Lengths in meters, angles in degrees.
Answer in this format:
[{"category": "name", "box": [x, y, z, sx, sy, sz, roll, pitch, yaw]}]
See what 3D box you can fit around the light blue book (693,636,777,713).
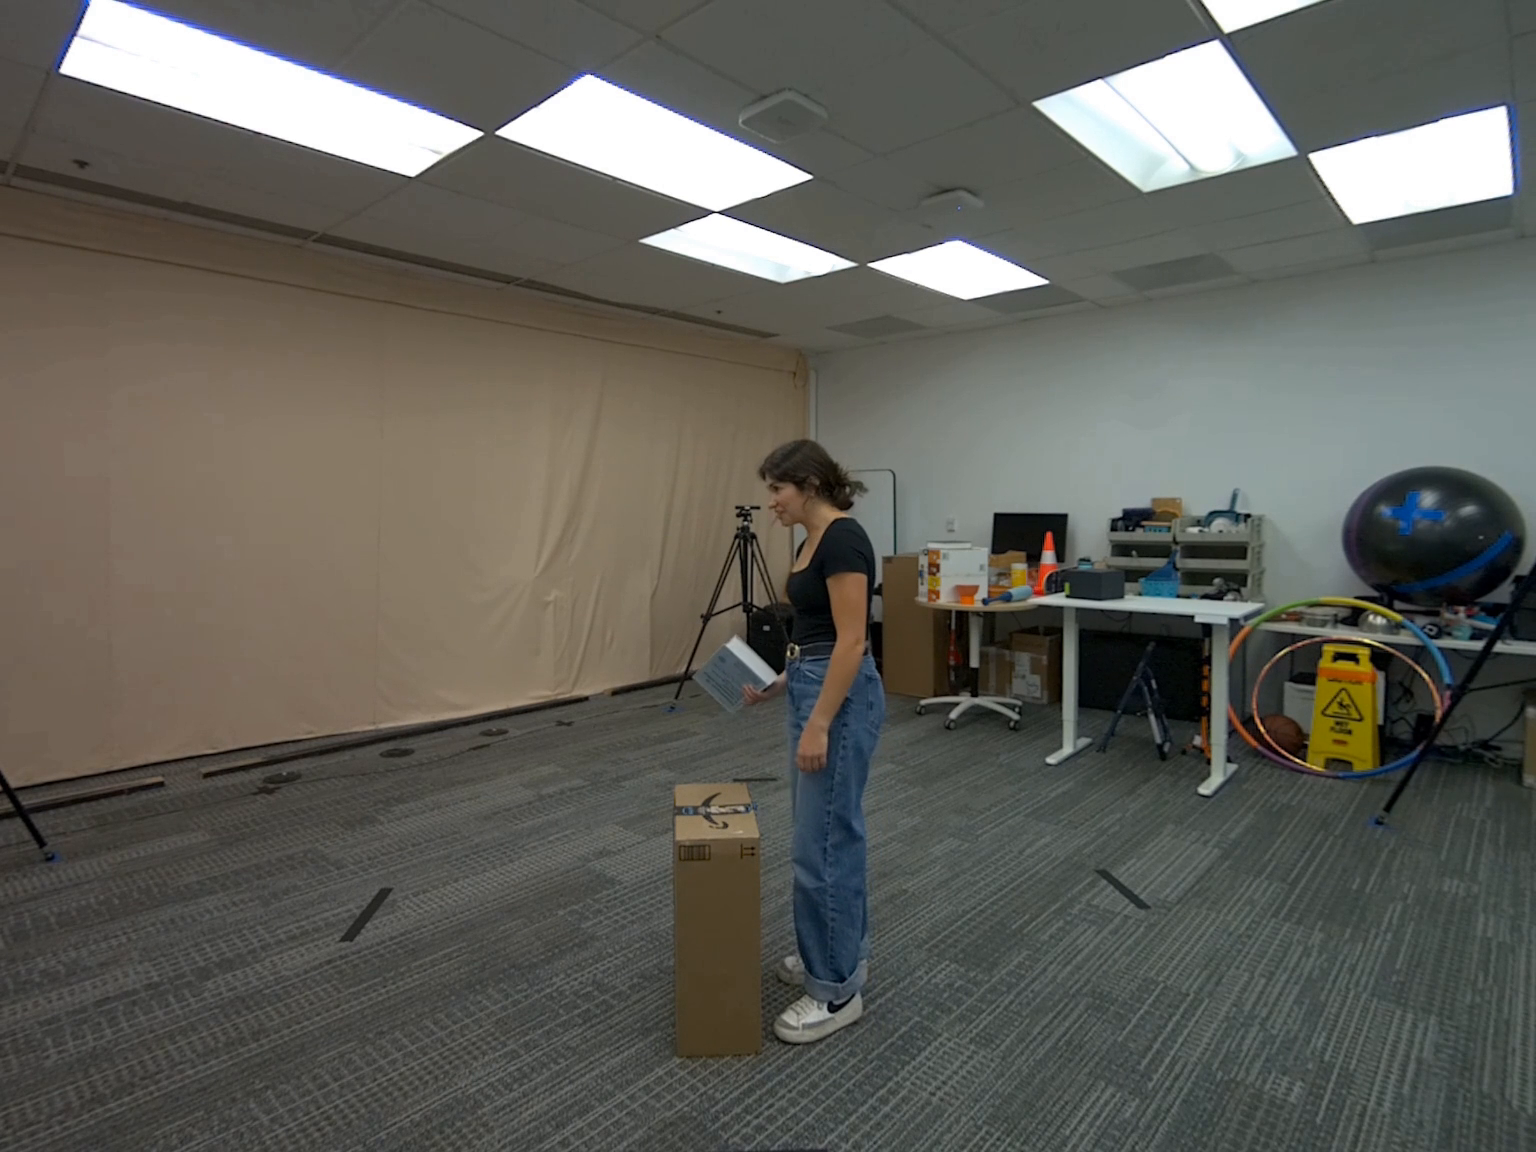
[{"category": "light blue book", "box": [-0.112, 0.323, 2.718, 0.058, 0.192, 0.262, -44, -3, -41]}]
